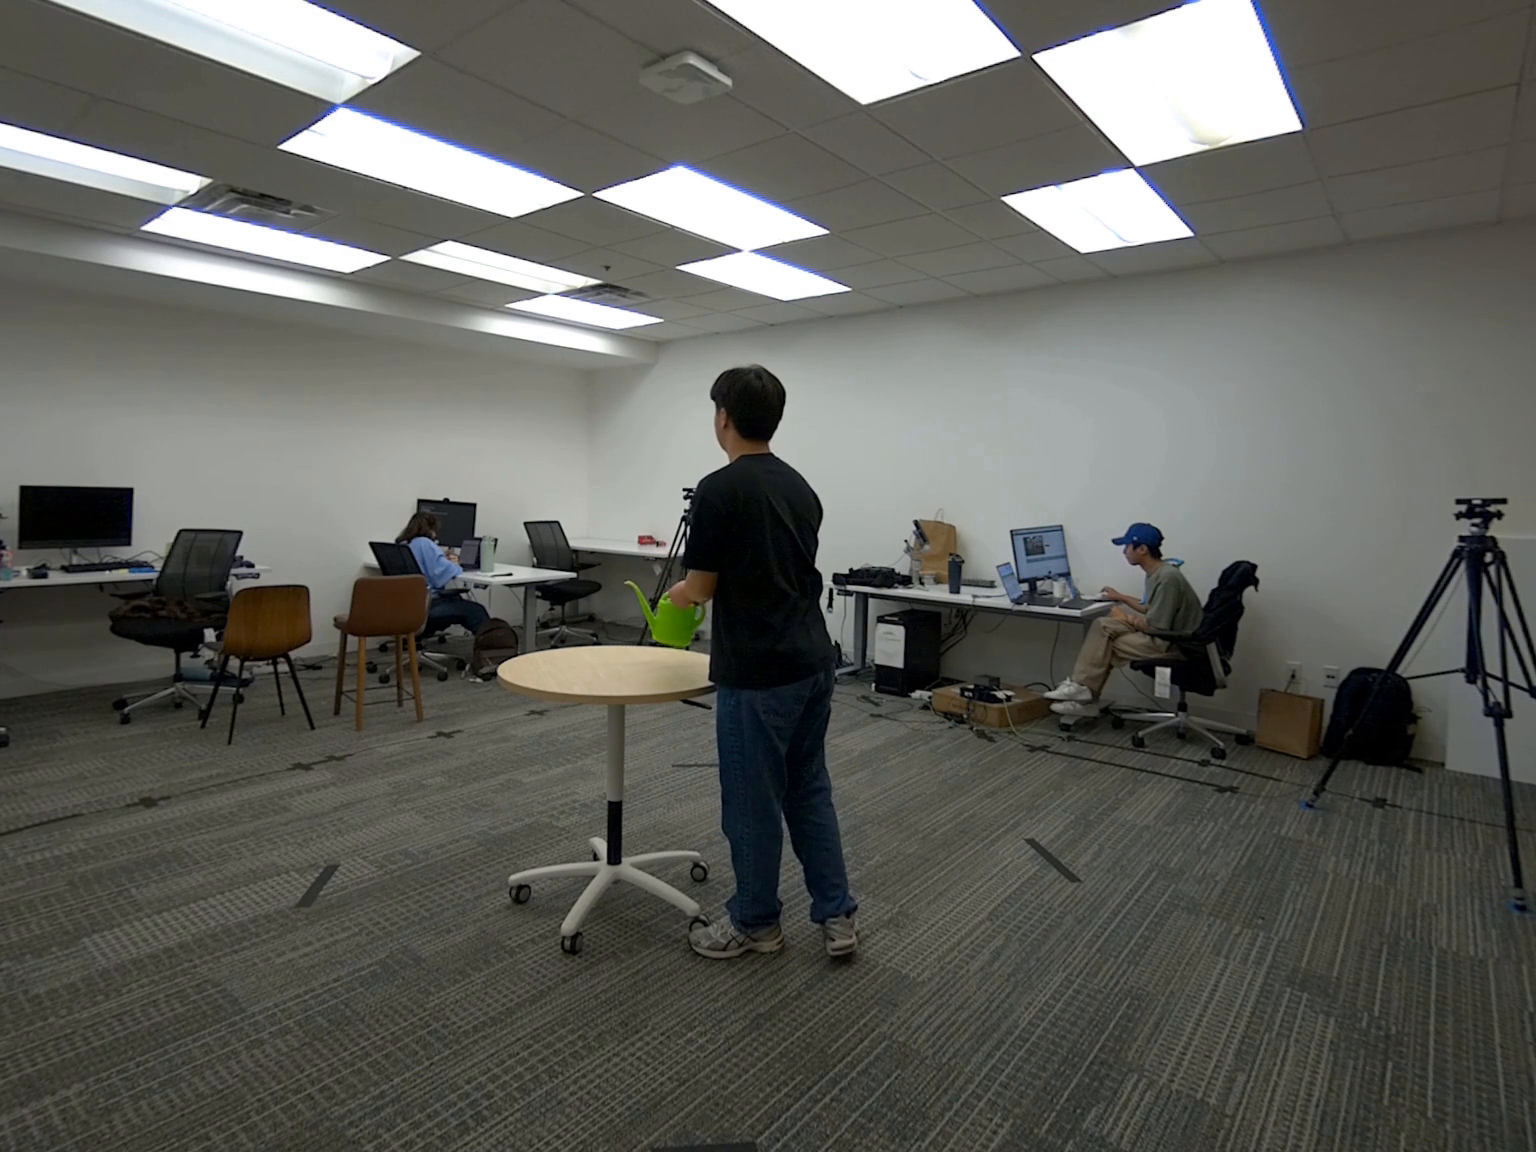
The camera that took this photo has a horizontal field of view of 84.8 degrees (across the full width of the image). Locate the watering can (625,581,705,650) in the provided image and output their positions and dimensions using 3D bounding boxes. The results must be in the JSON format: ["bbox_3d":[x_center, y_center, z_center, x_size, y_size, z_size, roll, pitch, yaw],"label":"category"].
[{"bbox_3d":[-0.354,0.123,2.849,0.281,0.176,0.097,14,7,6],"label":"watering can"}]
